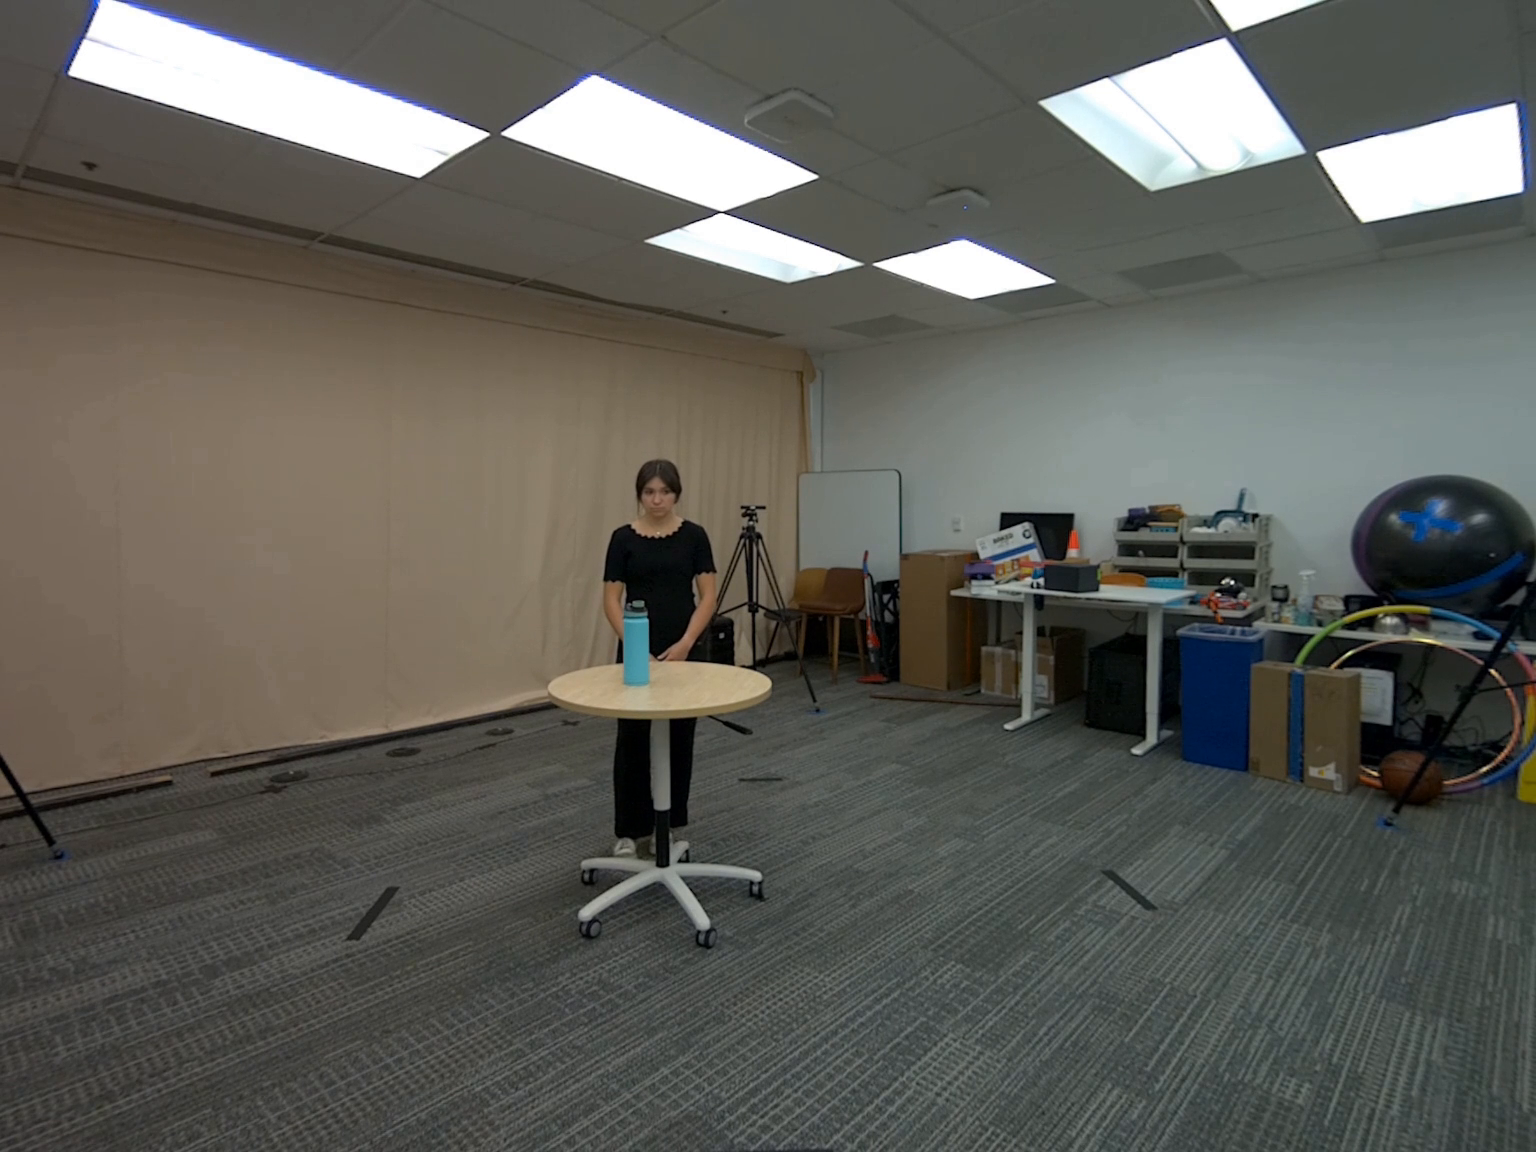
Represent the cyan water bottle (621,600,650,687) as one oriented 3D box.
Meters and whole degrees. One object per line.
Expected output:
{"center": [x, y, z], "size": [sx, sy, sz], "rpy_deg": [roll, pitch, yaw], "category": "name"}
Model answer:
{"center": [-0.453, 0.228, 2.899], "size": [0.092, 0.283, 0.092], "rpy_deg": [-1, 1, -2], "category": "cyan water bottle"}
